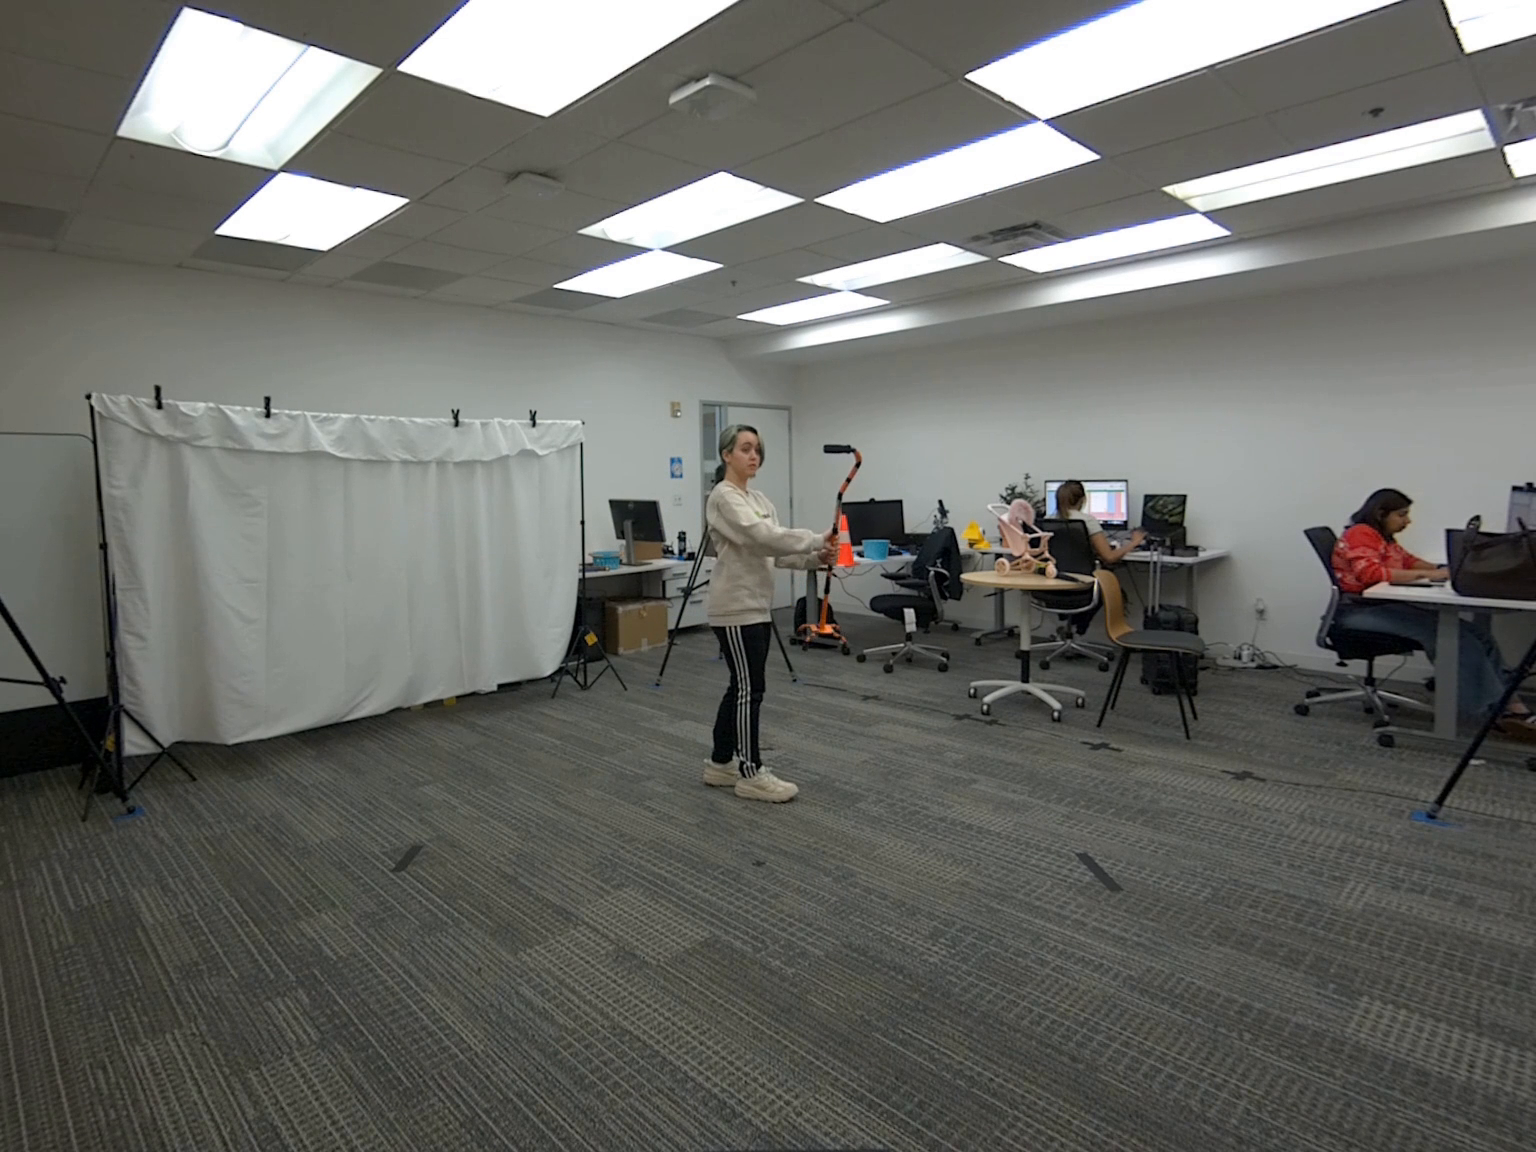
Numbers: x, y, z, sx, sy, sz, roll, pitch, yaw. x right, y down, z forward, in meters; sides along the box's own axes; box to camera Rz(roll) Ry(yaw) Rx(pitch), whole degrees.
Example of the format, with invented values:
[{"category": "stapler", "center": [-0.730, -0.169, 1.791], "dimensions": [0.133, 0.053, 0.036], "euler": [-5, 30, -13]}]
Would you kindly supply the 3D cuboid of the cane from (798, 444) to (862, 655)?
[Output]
[{"category": "cane", "center": [0.283, -0.111, 3.602], "dimensions": [0.204, 0.893, 0.156], "euler": [2, 23, -12]}]
